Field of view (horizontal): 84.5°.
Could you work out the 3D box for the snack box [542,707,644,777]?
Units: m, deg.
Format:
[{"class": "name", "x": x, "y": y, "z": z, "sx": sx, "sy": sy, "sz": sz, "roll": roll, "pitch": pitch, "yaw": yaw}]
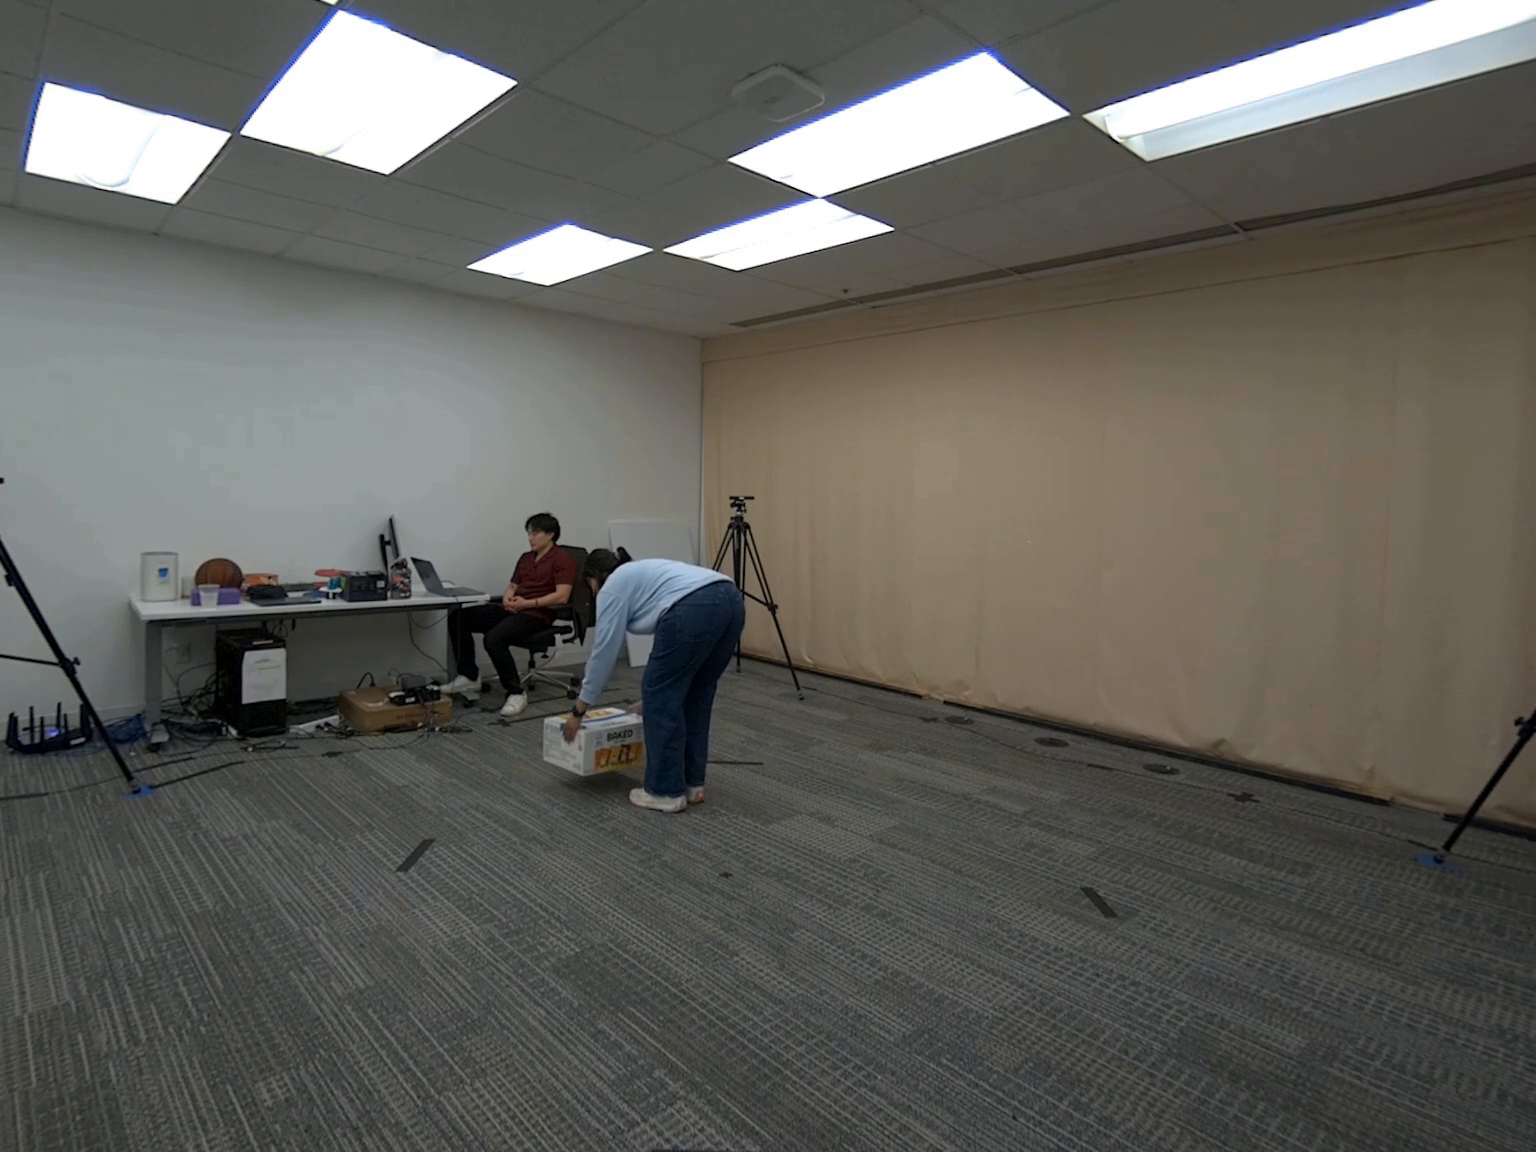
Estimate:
[{"class": "snack box", "x": -0.817, "y": 0.779, "z": 4.043, "sx": 0.349, "sy": 0.205, "sz": 0.395, "roll": 4, "pitch": 3, "yaw": 44}]
